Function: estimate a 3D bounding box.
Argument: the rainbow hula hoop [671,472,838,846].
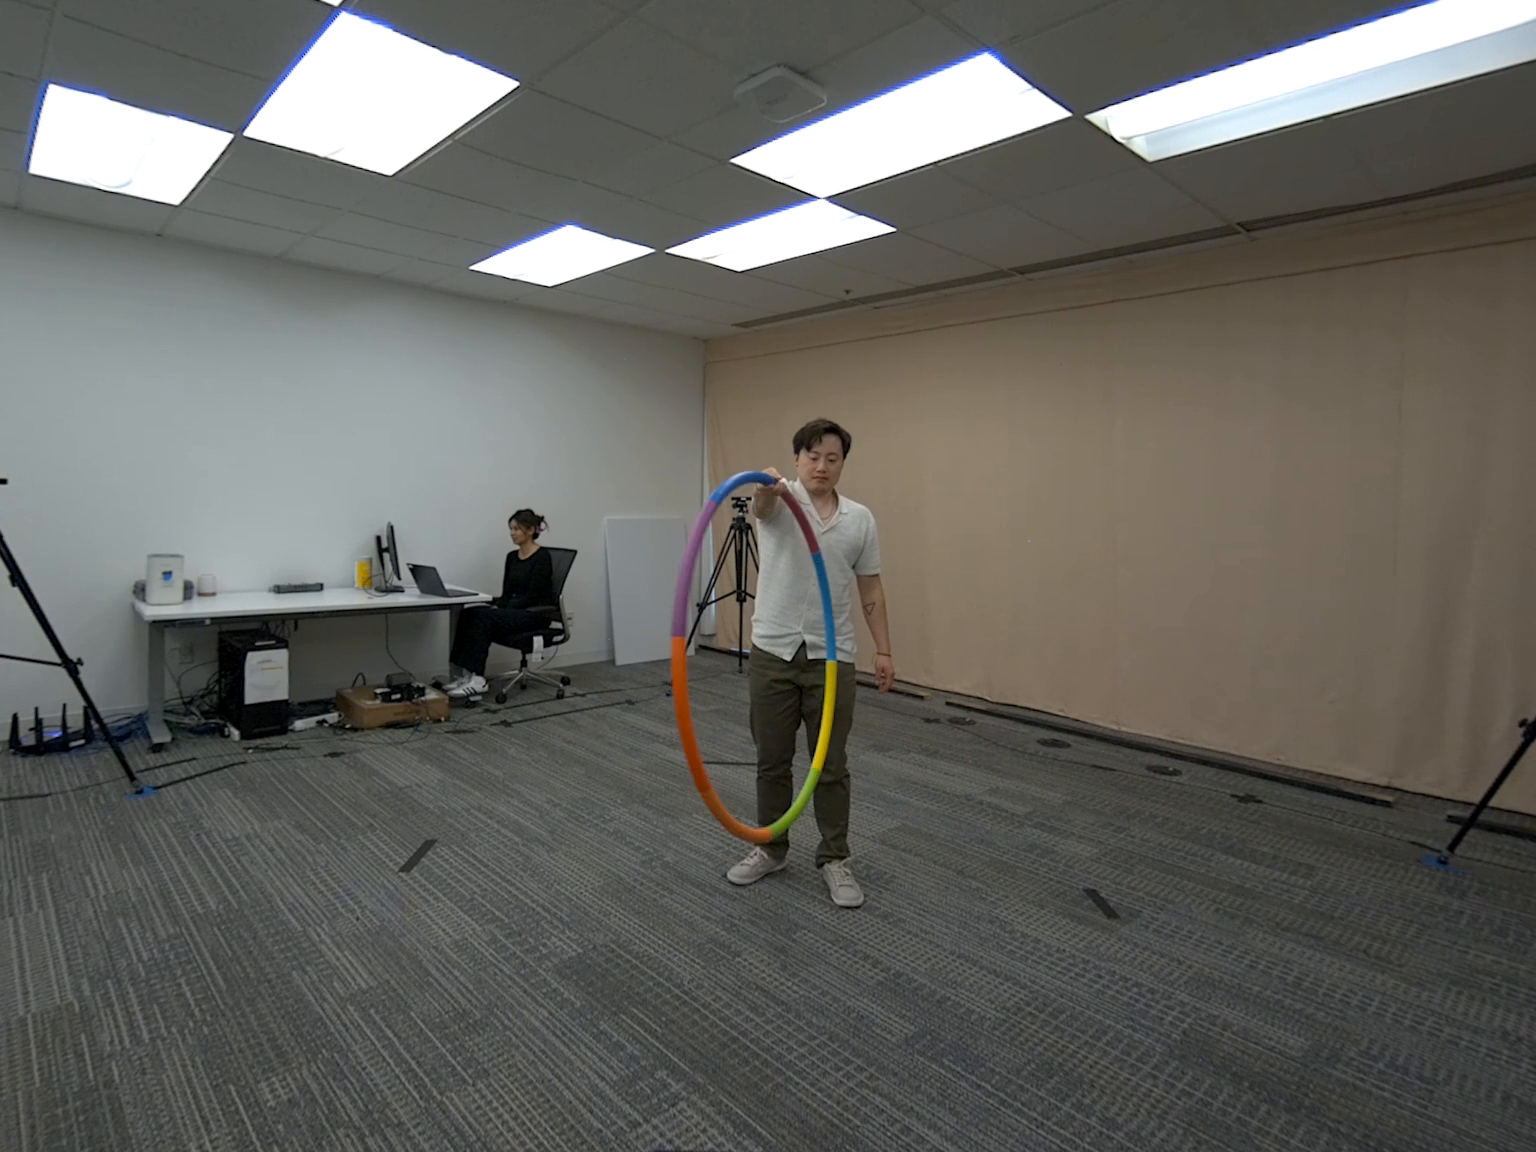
[{"bbox_3d":[0.001,0.195,2.323,0.036,0.979,0.961,-5,1,26],"label":"rainbow hula hoop"}]
